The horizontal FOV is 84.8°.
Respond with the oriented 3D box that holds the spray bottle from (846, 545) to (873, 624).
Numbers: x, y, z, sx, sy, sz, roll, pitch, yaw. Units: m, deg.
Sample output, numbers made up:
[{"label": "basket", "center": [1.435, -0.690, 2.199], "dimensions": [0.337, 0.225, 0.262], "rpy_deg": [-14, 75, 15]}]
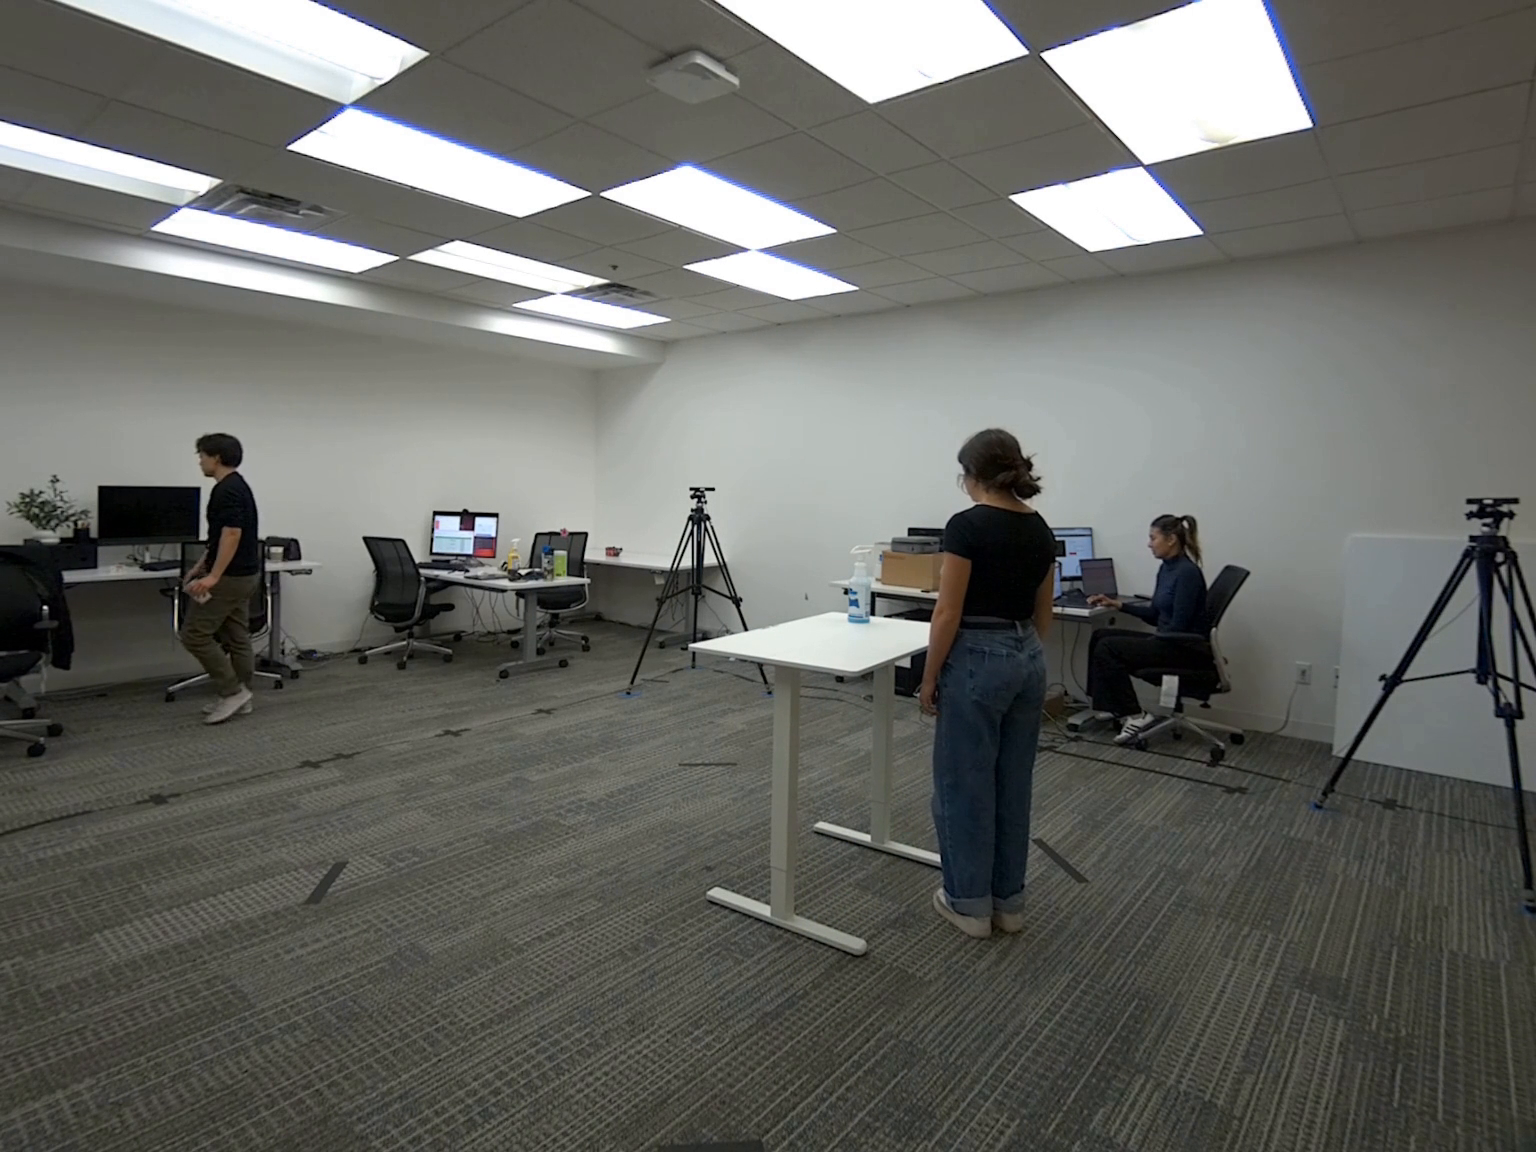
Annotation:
[{"label": "spray bottle", "center": [0.351, 0.032, 3.313], "dimensions": [0.092, 0.297, 0.085], "rpy_deg": [3, 0, 18]}]
